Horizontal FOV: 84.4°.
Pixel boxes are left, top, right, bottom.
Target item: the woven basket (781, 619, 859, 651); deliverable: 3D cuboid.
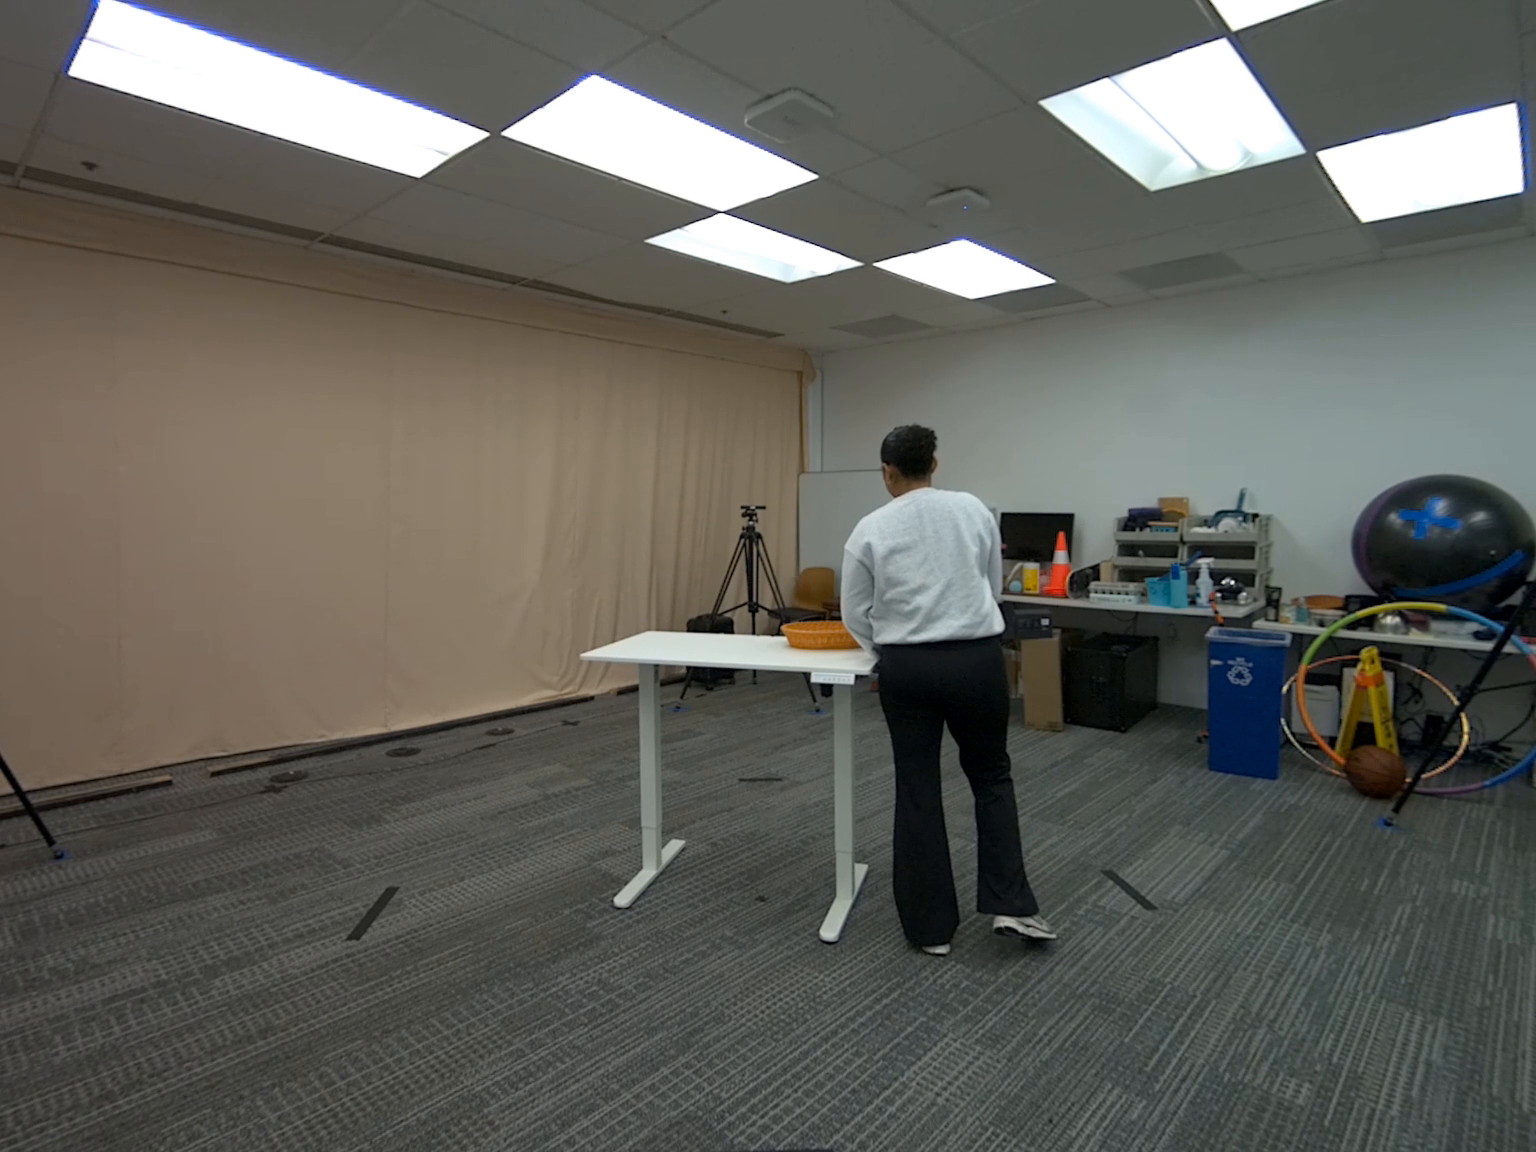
[{"bbox_3d":[0.236,0.222,3.034,0.351,0.073,0.252,0,5,1],"label":"woven basket"}]
